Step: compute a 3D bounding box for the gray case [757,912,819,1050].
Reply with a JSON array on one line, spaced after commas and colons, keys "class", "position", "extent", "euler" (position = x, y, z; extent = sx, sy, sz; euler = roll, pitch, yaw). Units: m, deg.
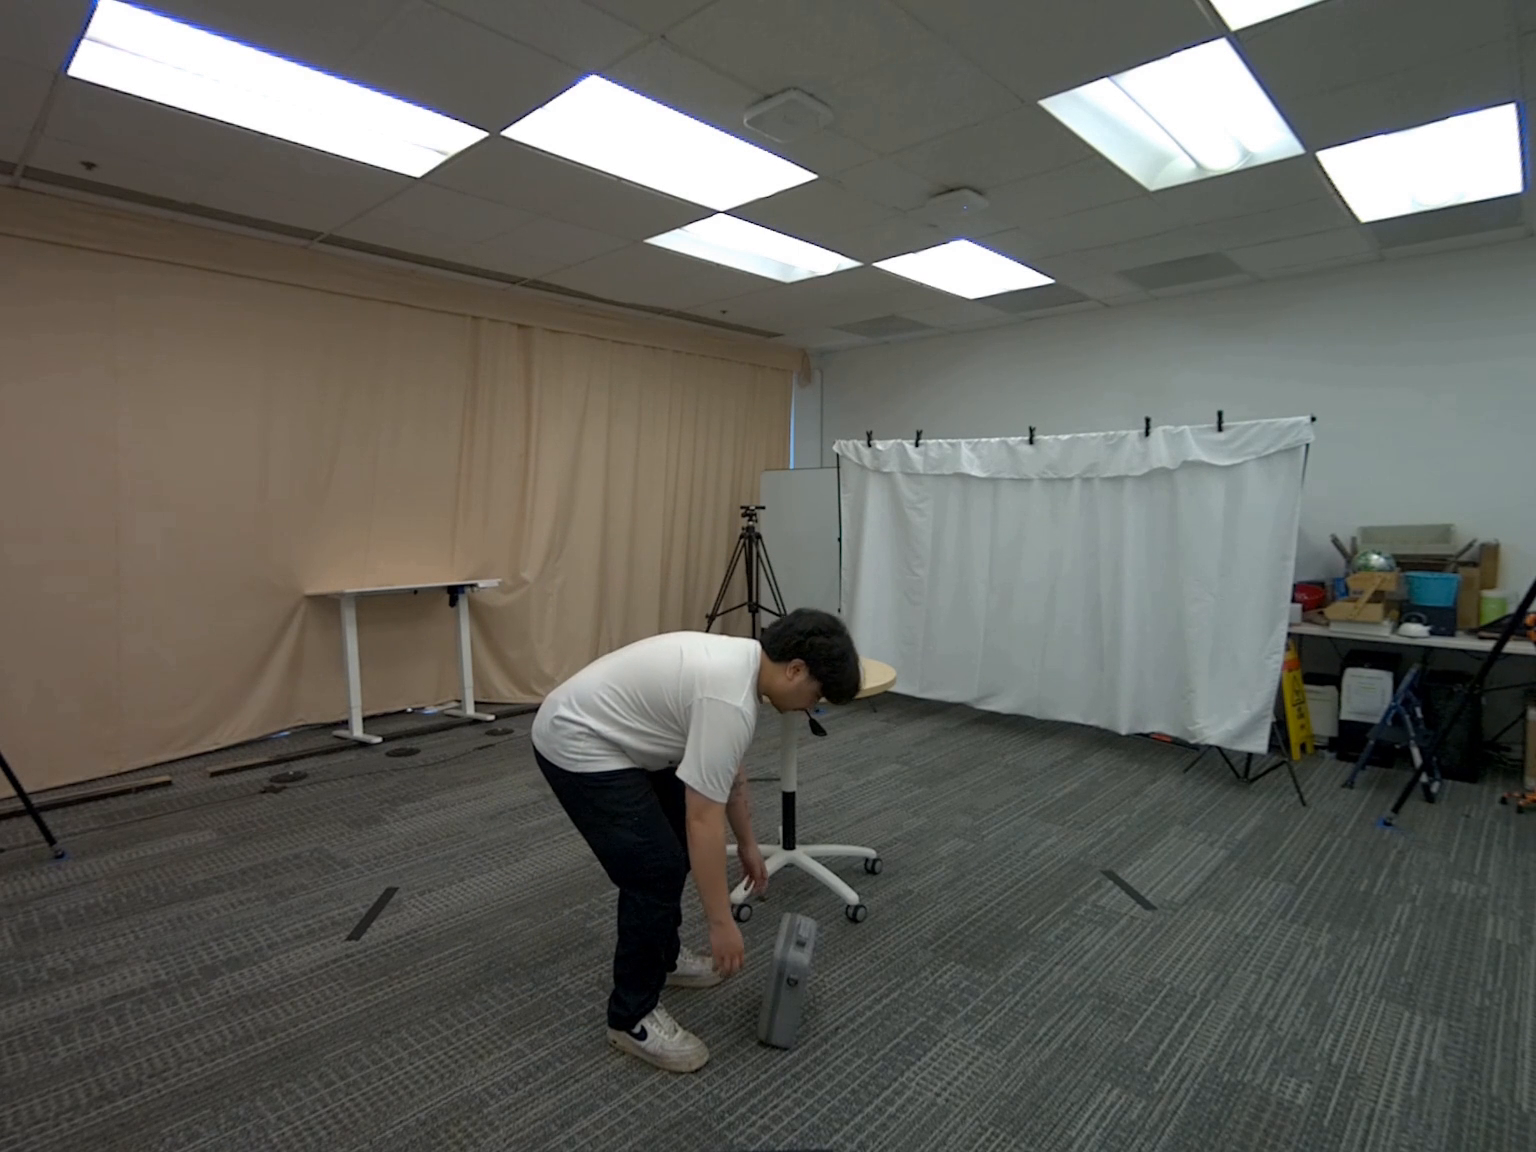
[{"class": "gray case", "position": [0.070, 1.089, 2.250], "extent": [0.105, 0.260, 0.255], "euler": [14, 6, 7]}]
